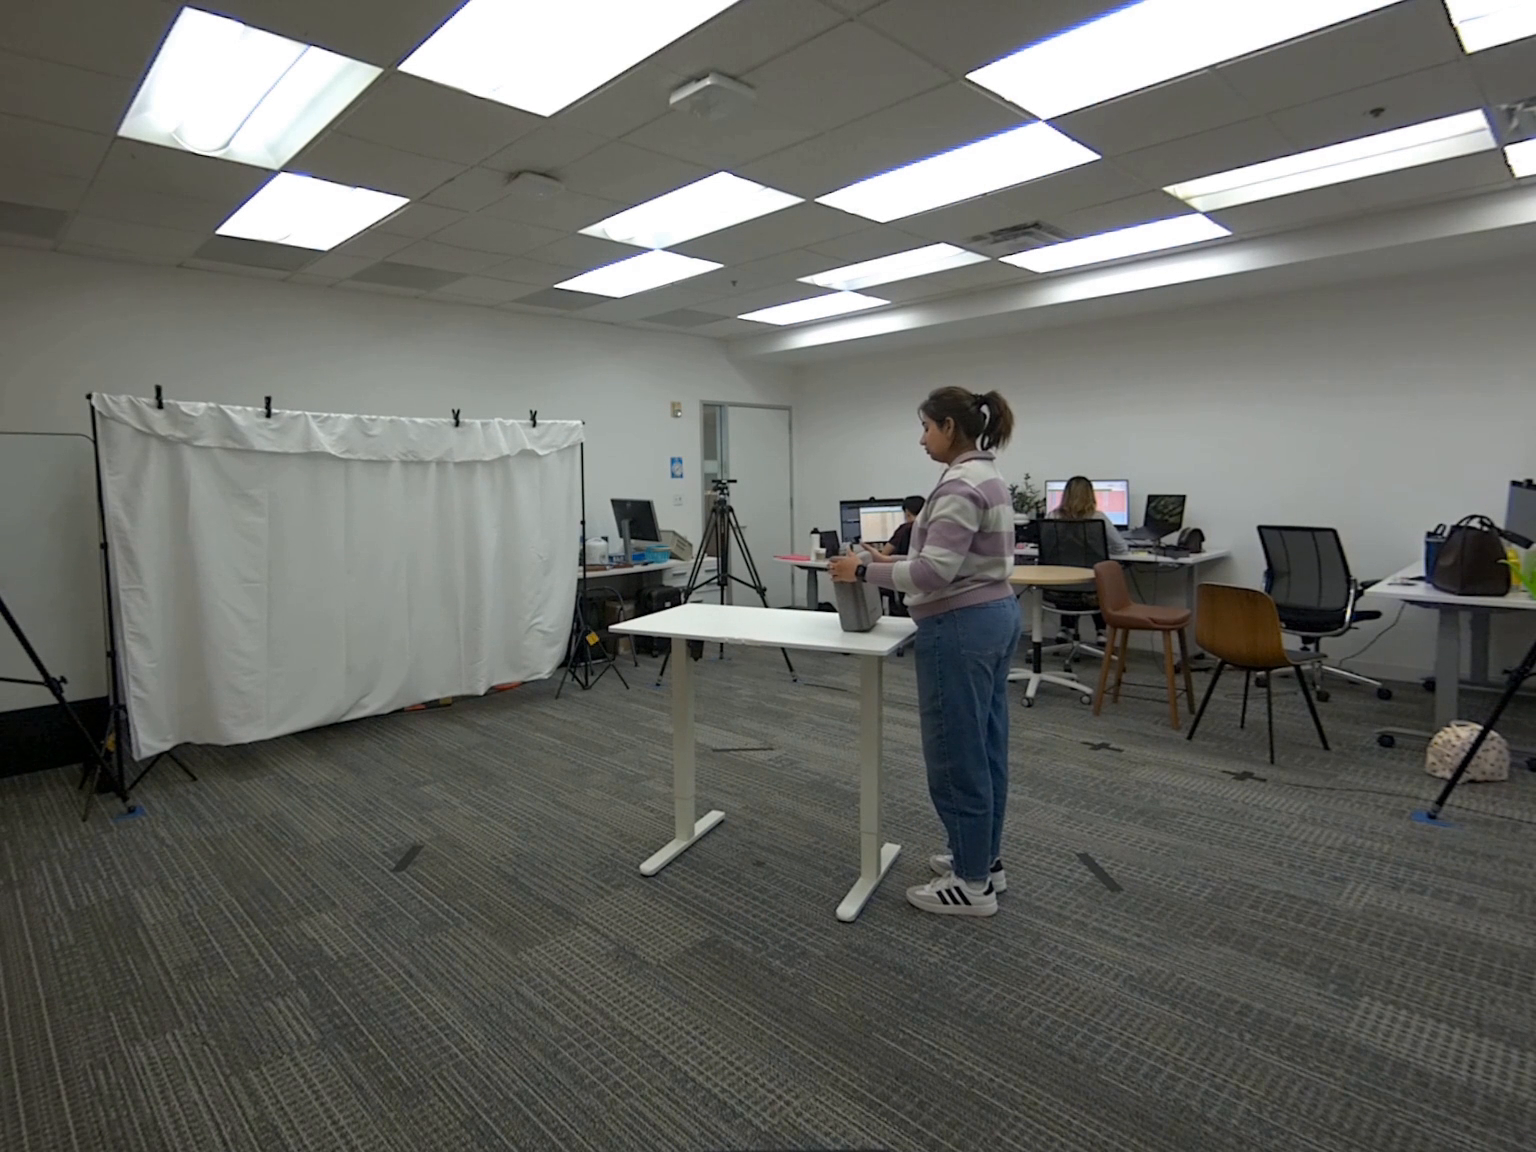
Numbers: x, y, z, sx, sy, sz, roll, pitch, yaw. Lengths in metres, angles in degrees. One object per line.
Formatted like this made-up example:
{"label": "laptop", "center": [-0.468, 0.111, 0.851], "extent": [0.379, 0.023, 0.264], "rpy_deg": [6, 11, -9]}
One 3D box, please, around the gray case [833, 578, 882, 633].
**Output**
{"label": "gray case", "center": [0.309, 0.053, 2.955], "extent": [0.106, 0.260, 0.253], "rpy_deg": [-6, 4, 18]}
